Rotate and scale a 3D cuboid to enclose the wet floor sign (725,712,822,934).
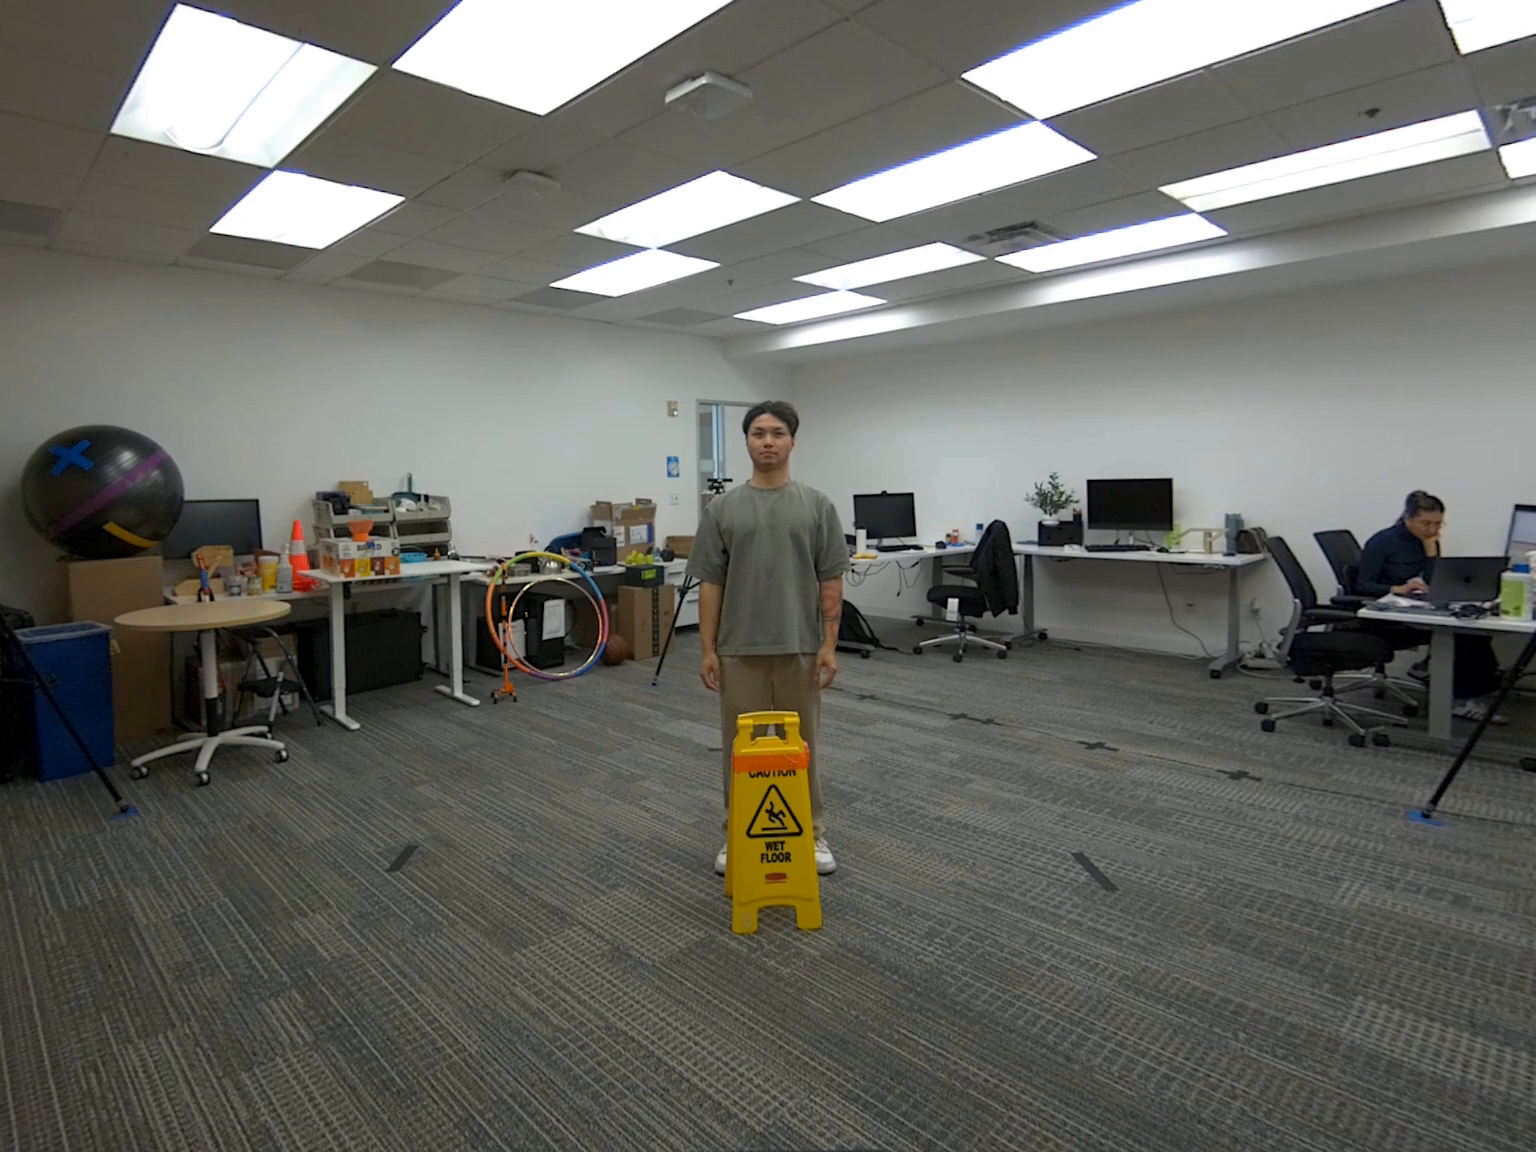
[{"bbox_3d":[-0.005,0.765,2.745,0.281,0.643,0.293,-3,5,-7],"label":"wet floor sign"}]
